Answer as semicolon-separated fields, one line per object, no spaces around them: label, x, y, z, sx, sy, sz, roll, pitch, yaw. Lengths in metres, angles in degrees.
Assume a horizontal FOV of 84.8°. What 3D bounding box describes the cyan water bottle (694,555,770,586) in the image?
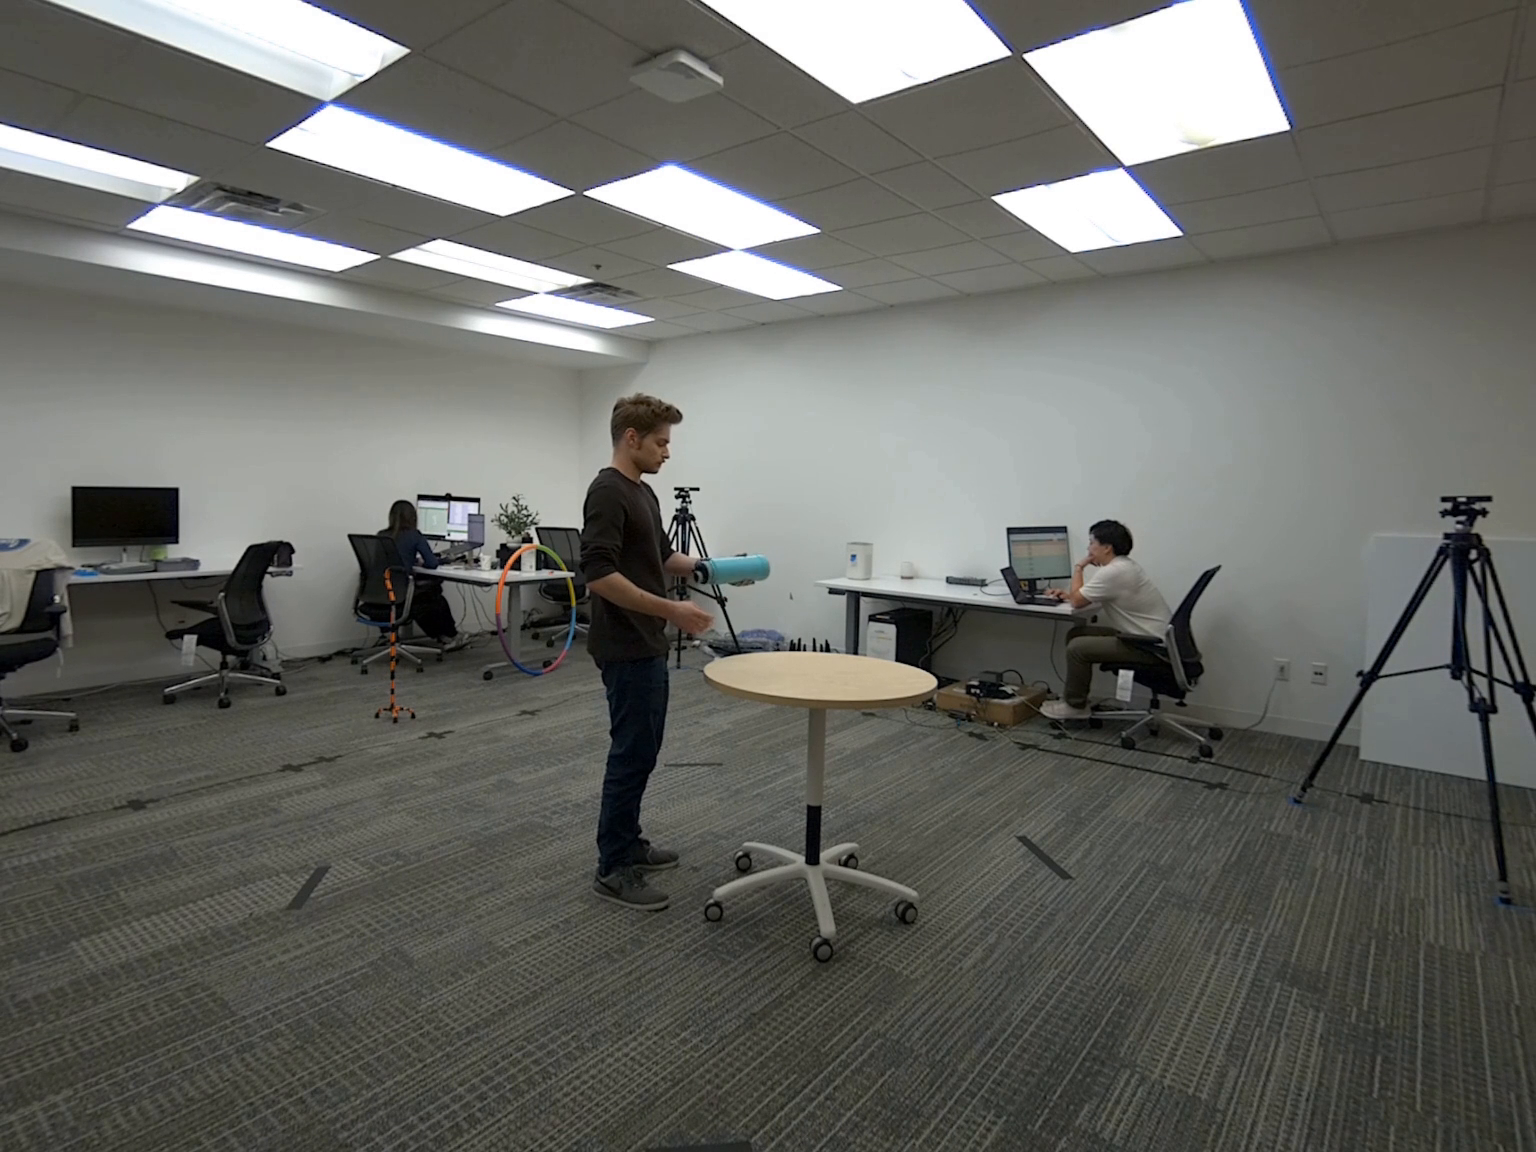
cyan water bottle;-0.143;-0.018;2.925;0.276;0.092;0.095;-4;6;-29
